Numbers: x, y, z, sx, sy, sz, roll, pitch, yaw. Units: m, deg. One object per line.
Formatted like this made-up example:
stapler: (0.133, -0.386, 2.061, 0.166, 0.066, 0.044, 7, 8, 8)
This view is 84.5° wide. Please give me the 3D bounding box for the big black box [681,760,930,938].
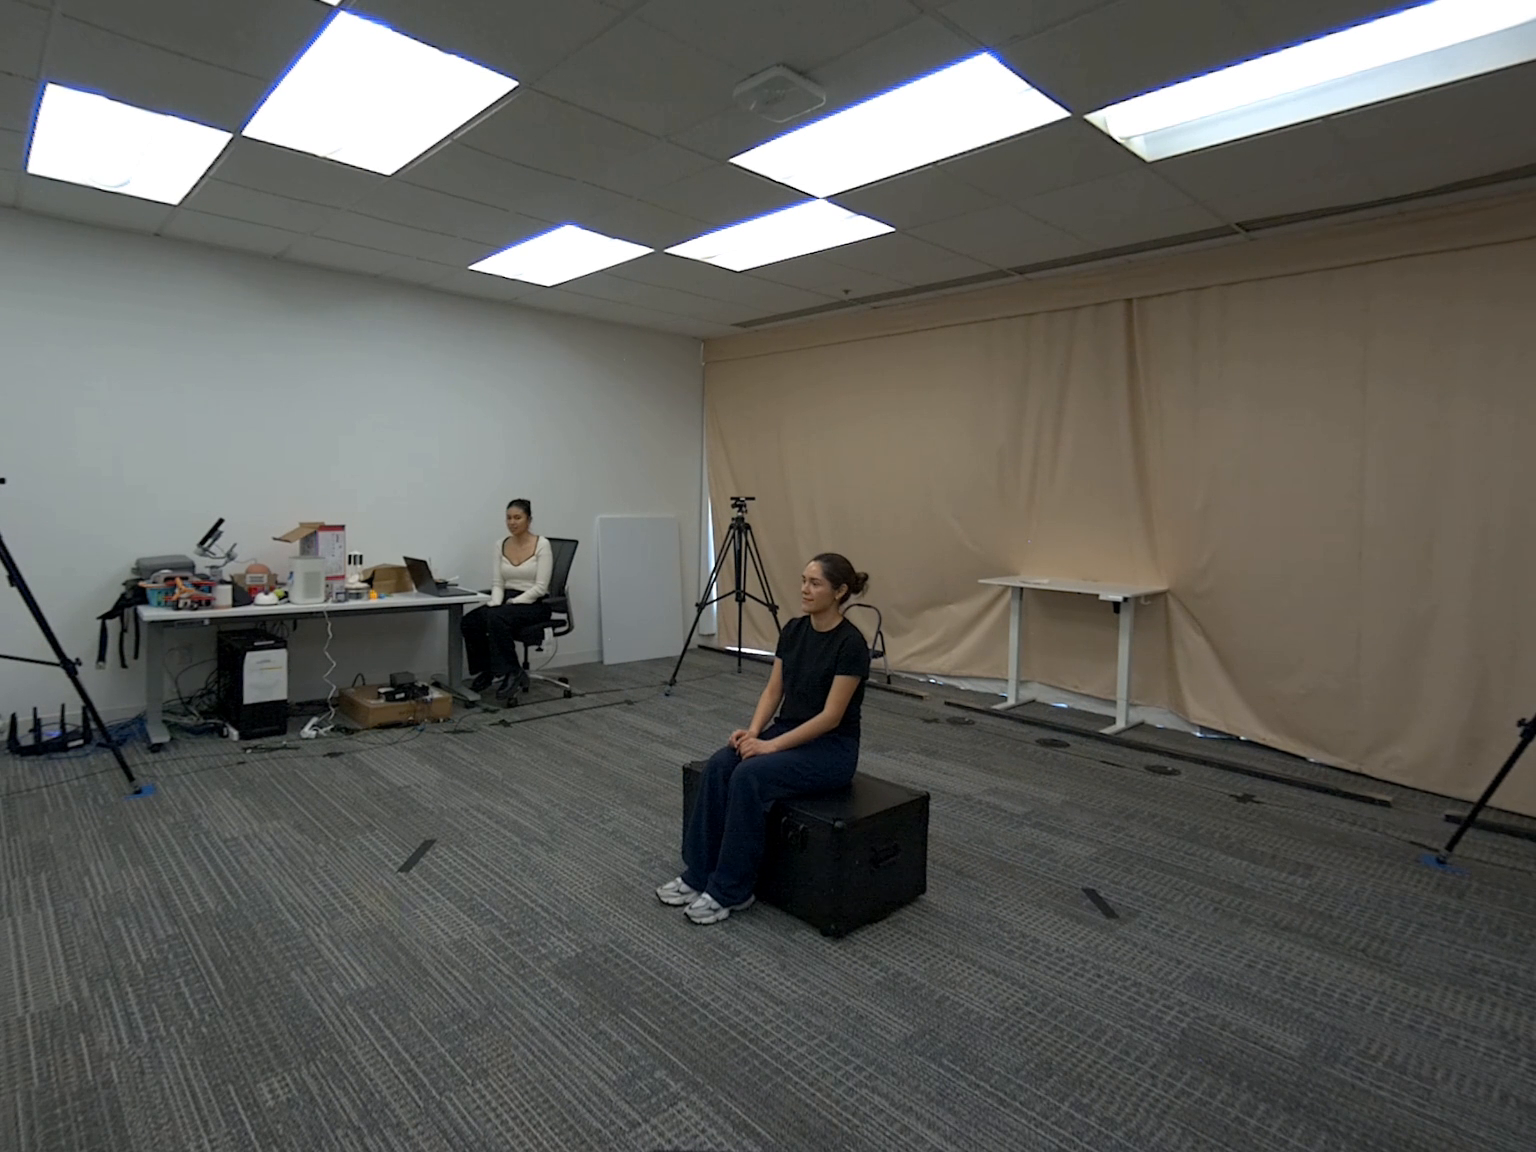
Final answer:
big black box: (0.094, 0.926, 3.088, 0.509, 0.395, 0.884, -2, 6, -44)
